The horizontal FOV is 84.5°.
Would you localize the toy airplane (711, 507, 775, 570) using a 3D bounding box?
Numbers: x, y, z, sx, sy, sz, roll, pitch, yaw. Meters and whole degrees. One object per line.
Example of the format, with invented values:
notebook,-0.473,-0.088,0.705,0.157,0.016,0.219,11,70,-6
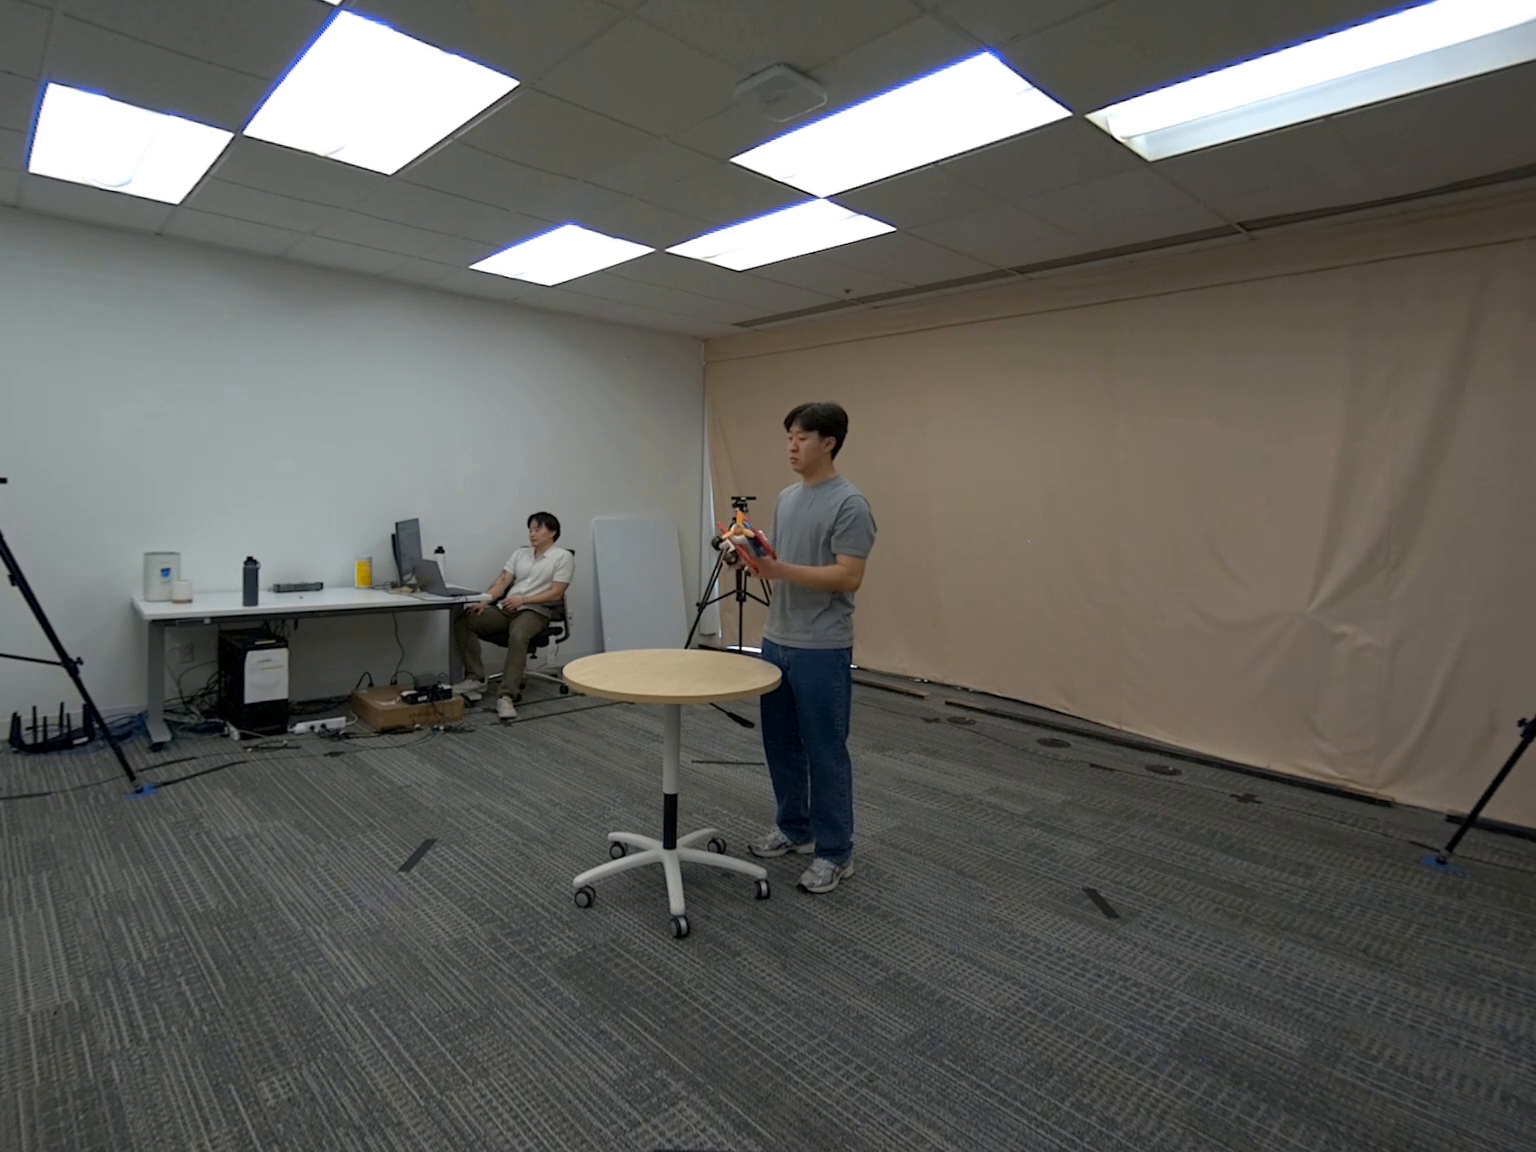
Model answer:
toy airplane,-0.088,-0.101,2.973,0.253,0.156,0.257,45,8,8
